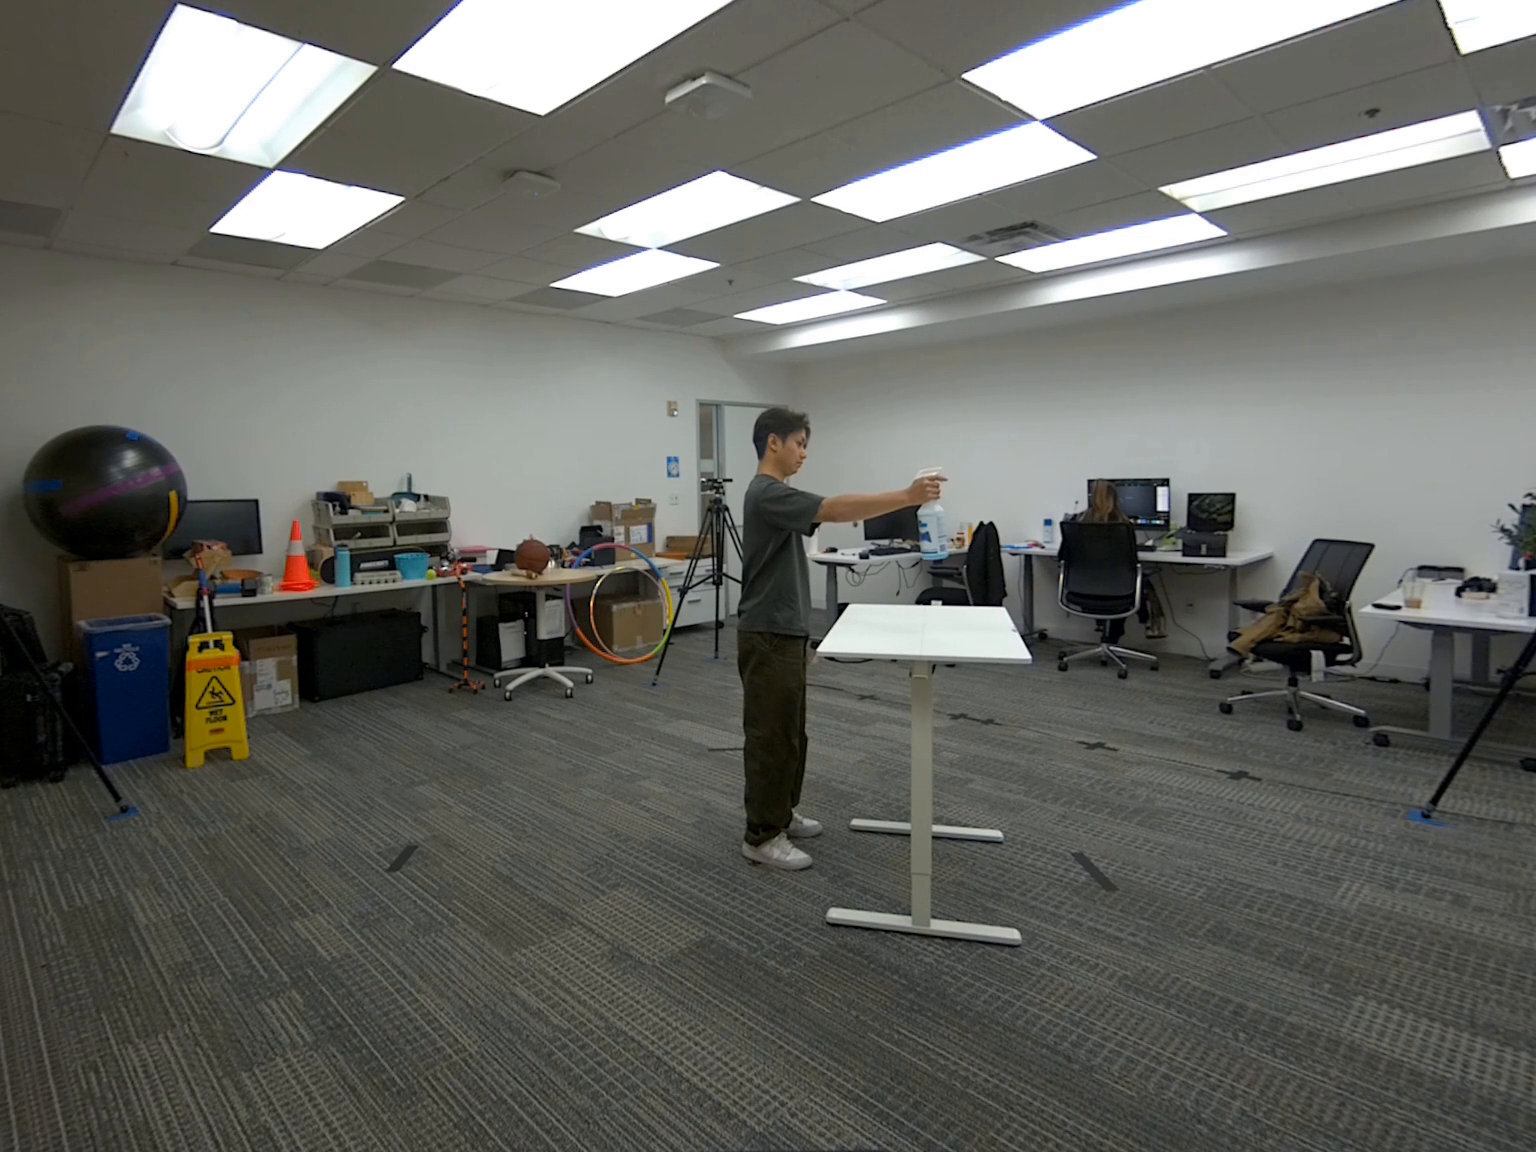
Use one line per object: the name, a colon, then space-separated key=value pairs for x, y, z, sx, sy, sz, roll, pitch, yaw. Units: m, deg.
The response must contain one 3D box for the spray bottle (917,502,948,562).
spray bottle: x=0.541 y=-0.203 z=2.814 sx=0.092 sy=0.296 sz=0.085 roll=-4 pitch=6 yaw=32
